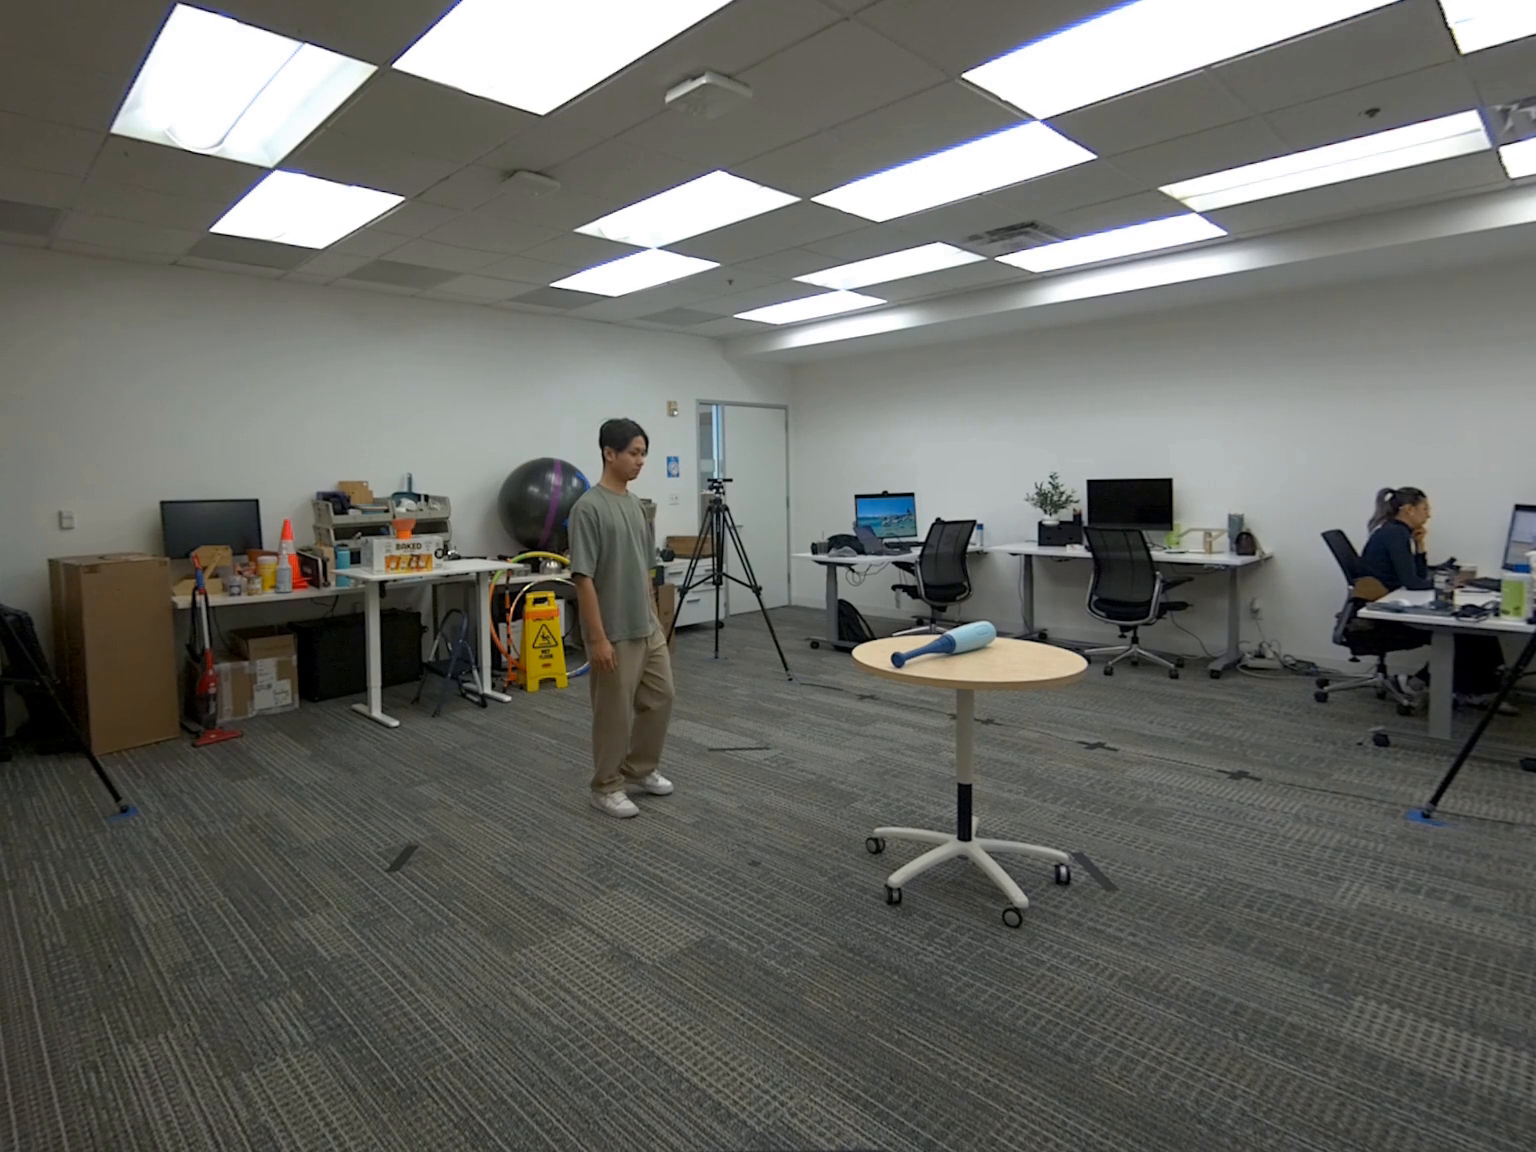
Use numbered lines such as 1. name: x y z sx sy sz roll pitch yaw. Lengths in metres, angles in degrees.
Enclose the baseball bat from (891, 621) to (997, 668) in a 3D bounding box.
1. baseball bat: 0.599 0.235 2.901 0.530 0.088 0.092 -10 9 -42
